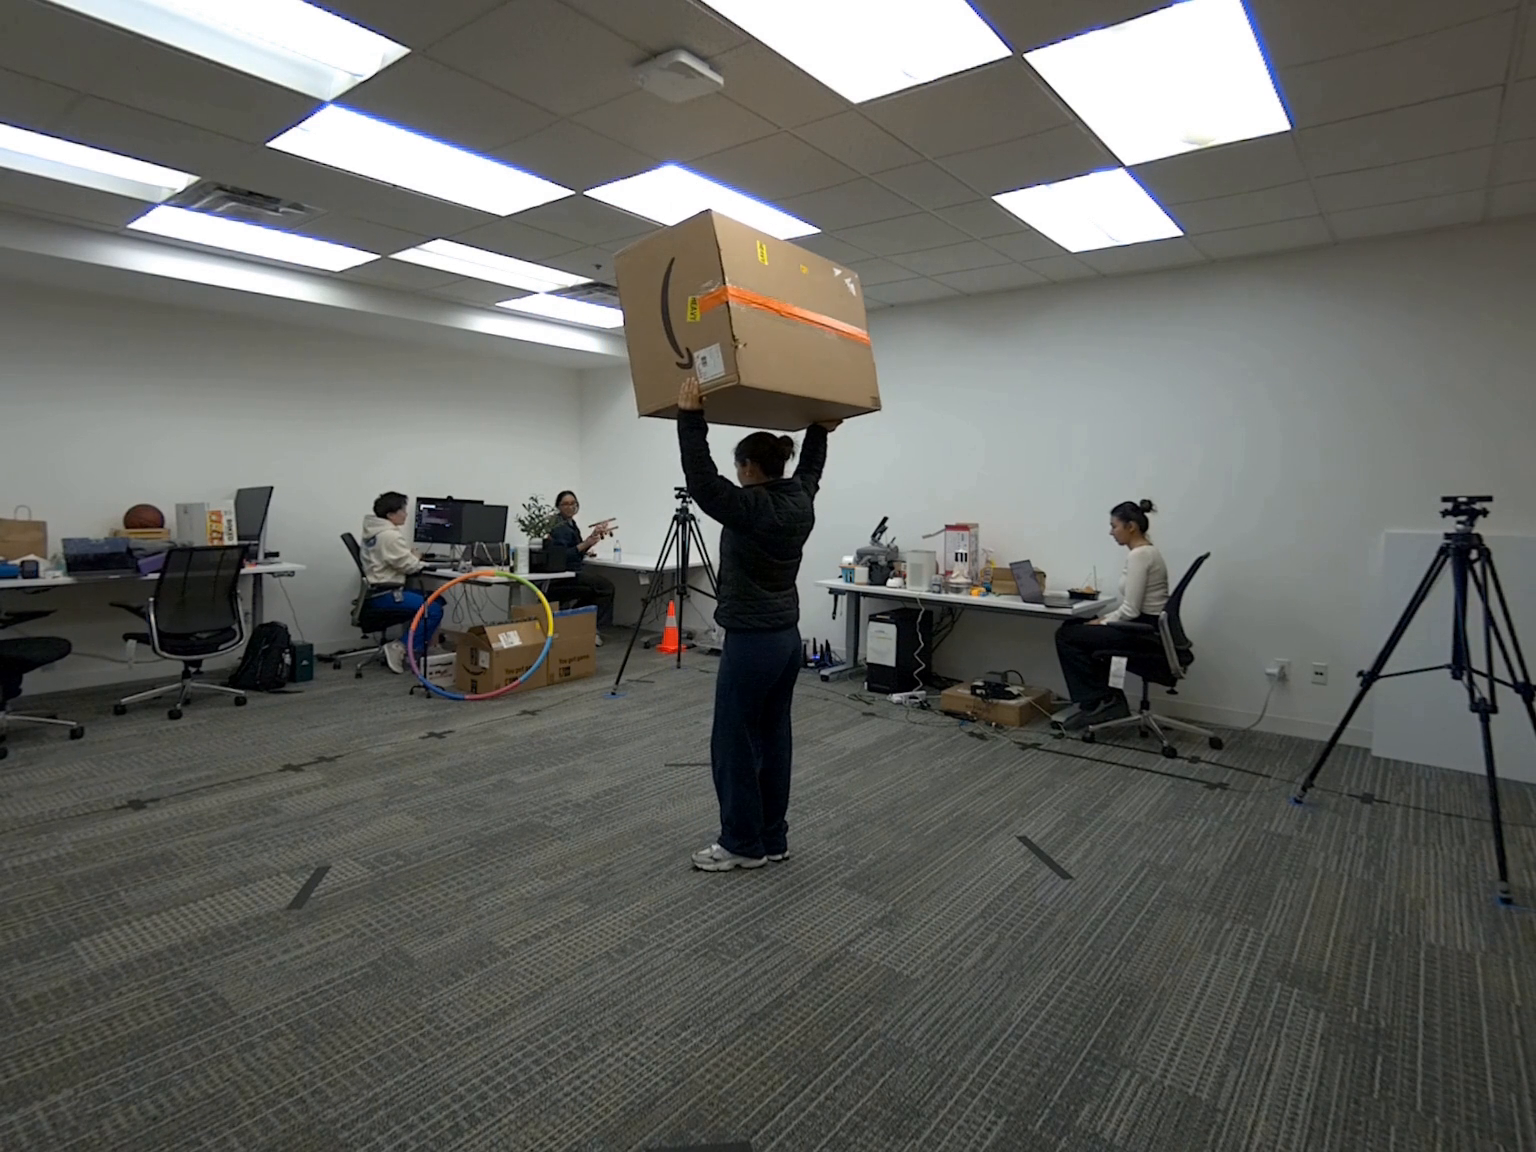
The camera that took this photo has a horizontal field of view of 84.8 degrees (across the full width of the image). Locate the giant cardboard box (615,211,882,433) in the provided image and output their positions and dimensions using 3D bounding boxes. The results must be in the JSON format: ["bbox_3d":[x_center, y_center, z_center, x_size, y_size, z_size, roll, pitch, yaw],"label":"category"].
[{"bbox_3d":[-0.024,-0.883,3.172,0.458,0.585,1.000,-10,-1,35],"label":"giant cardboard box"}]
